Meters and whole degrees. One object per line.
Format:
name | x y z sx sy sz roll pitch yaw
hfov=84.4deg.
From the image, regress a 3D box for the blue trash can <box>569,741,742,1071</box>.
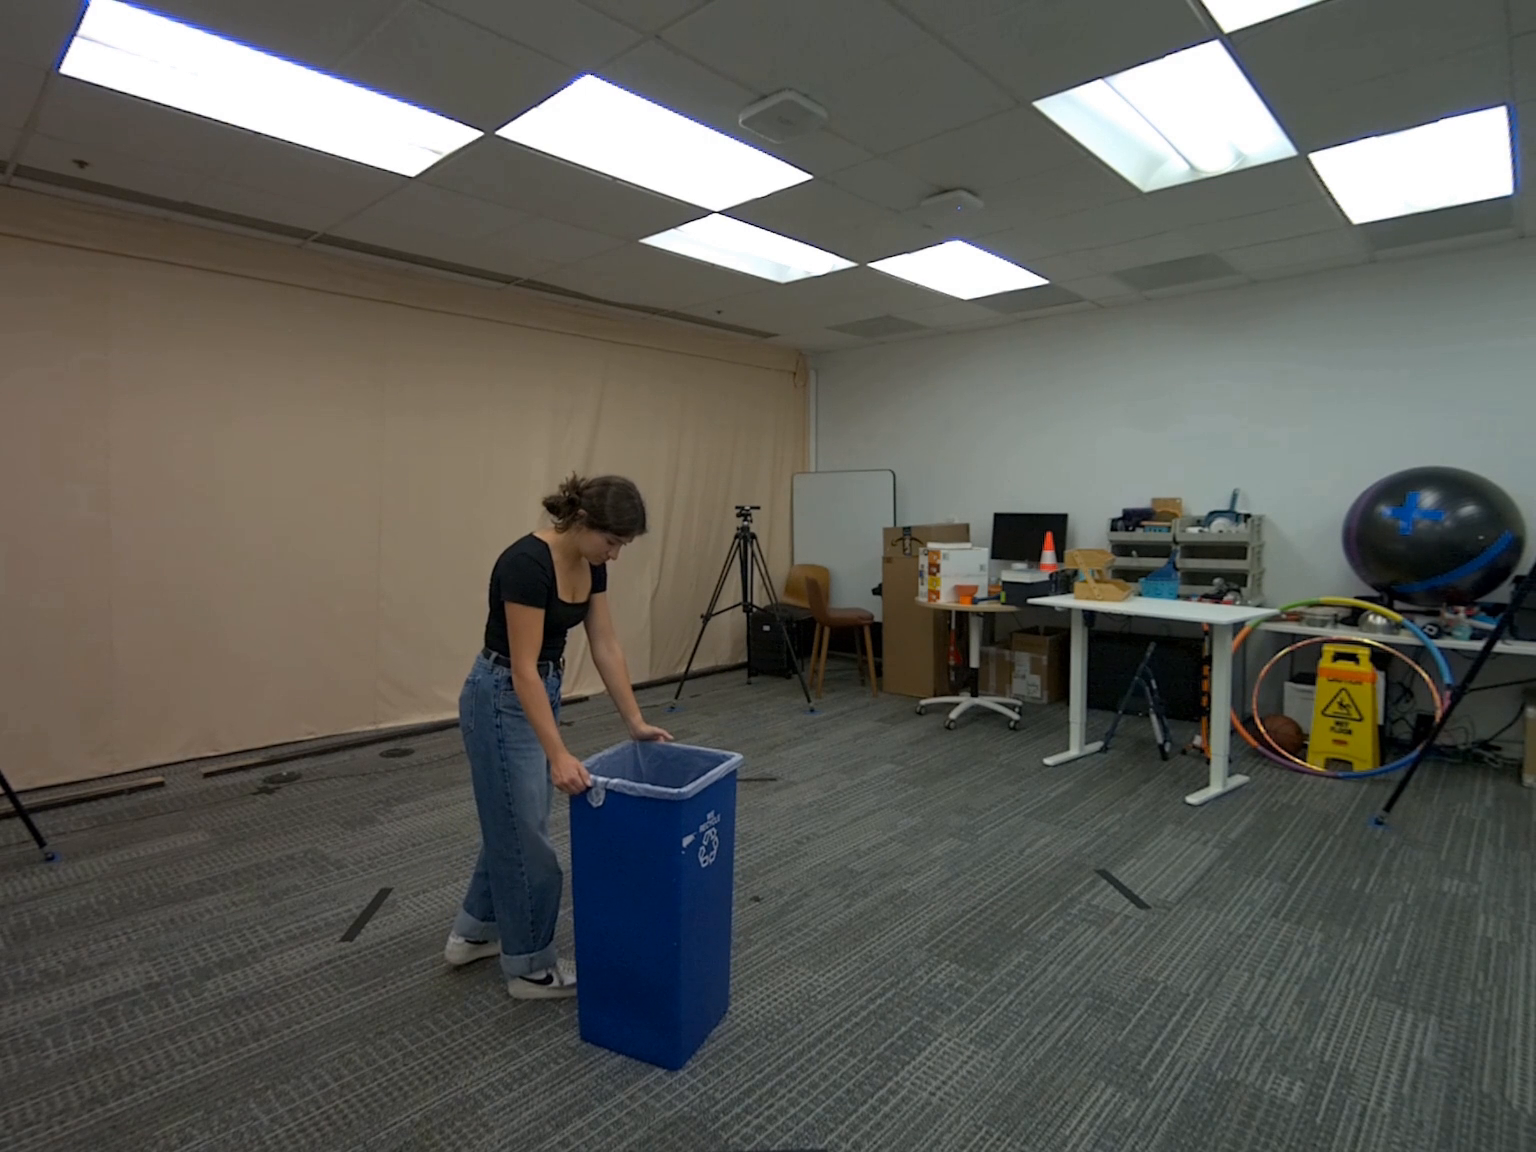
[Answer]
blue trash can | -0.301 0.852 2.248 0.388 0.712 0.365 2 4 25
